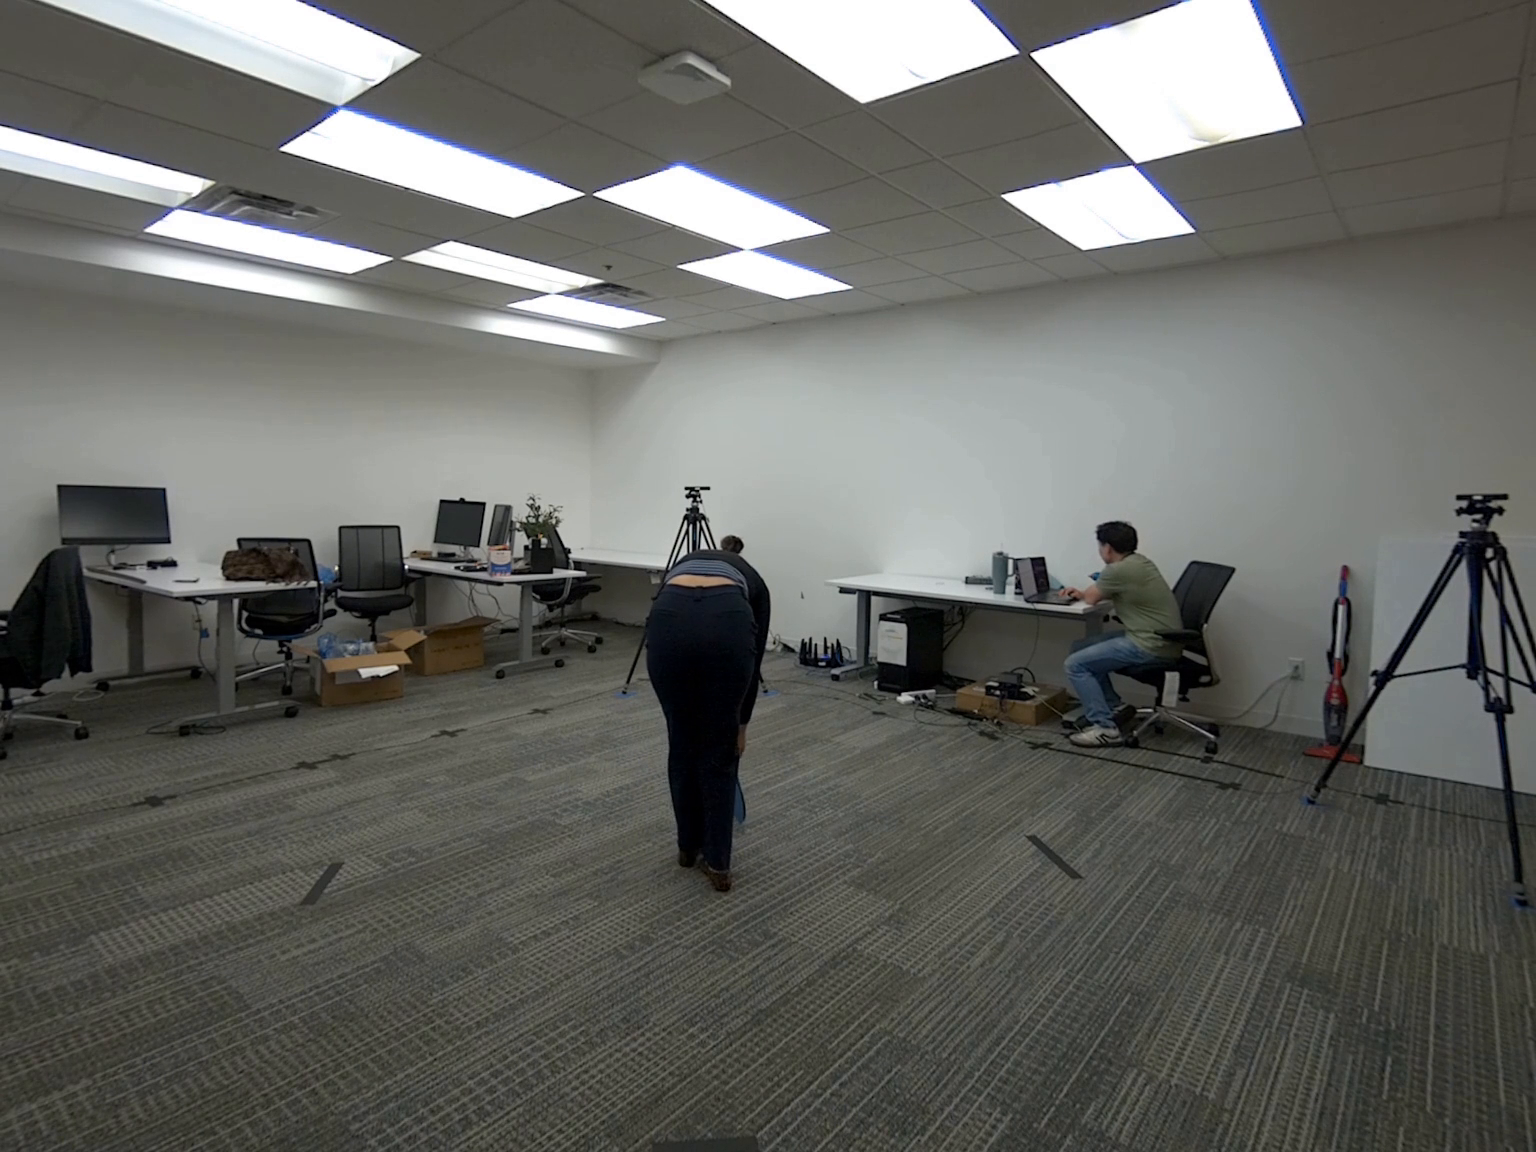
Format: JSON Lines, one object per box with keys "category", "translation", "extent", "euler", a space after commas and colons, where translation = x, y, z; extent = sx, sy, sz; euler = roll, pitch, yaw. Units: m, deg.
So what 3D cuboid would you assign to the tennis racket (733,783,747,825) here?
{"category": "tennis racket", "translation": [-0.148, 0.826, 3.480], "extent": [0.031, 0.421, 0.222], "euler": [-12, 36, -17]}
